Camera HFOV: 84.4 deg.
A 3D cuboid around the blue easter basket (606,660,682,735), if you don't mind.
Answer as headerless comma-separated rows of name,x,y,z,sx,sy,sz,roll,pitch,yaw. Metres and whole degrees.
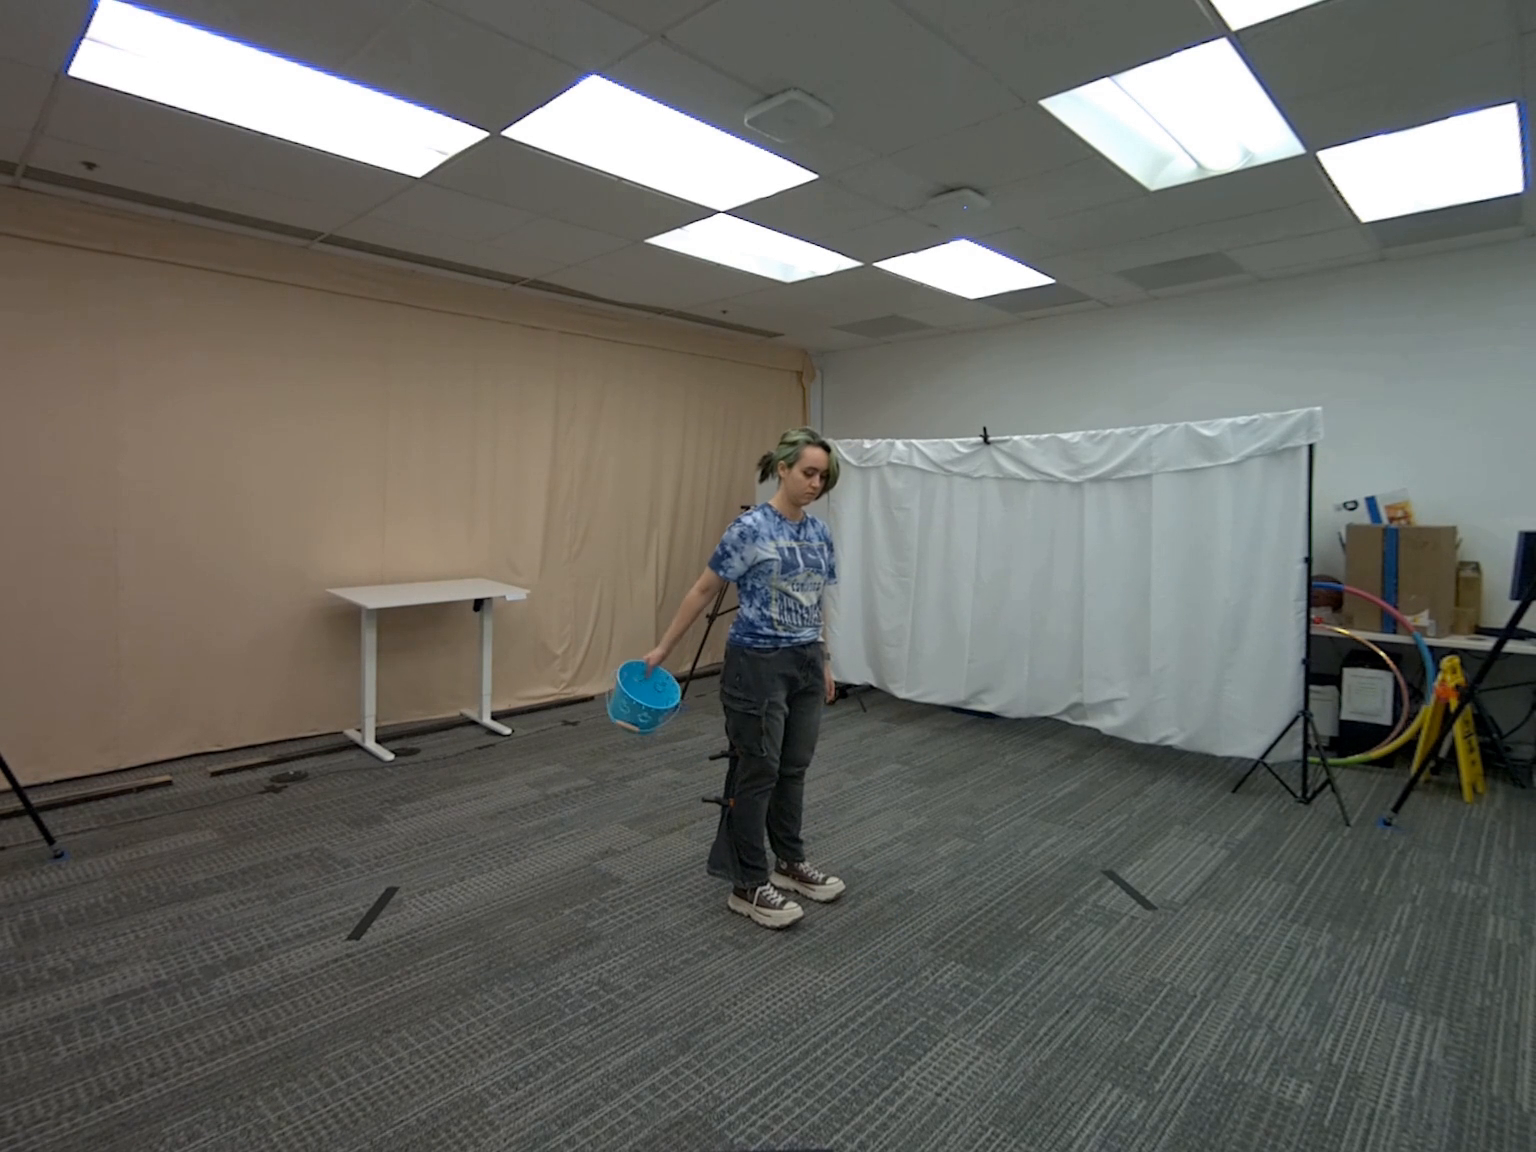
blue easter basket,-0.409,0.420,2.839,0.240,0.156,0.247,24,22,-12
